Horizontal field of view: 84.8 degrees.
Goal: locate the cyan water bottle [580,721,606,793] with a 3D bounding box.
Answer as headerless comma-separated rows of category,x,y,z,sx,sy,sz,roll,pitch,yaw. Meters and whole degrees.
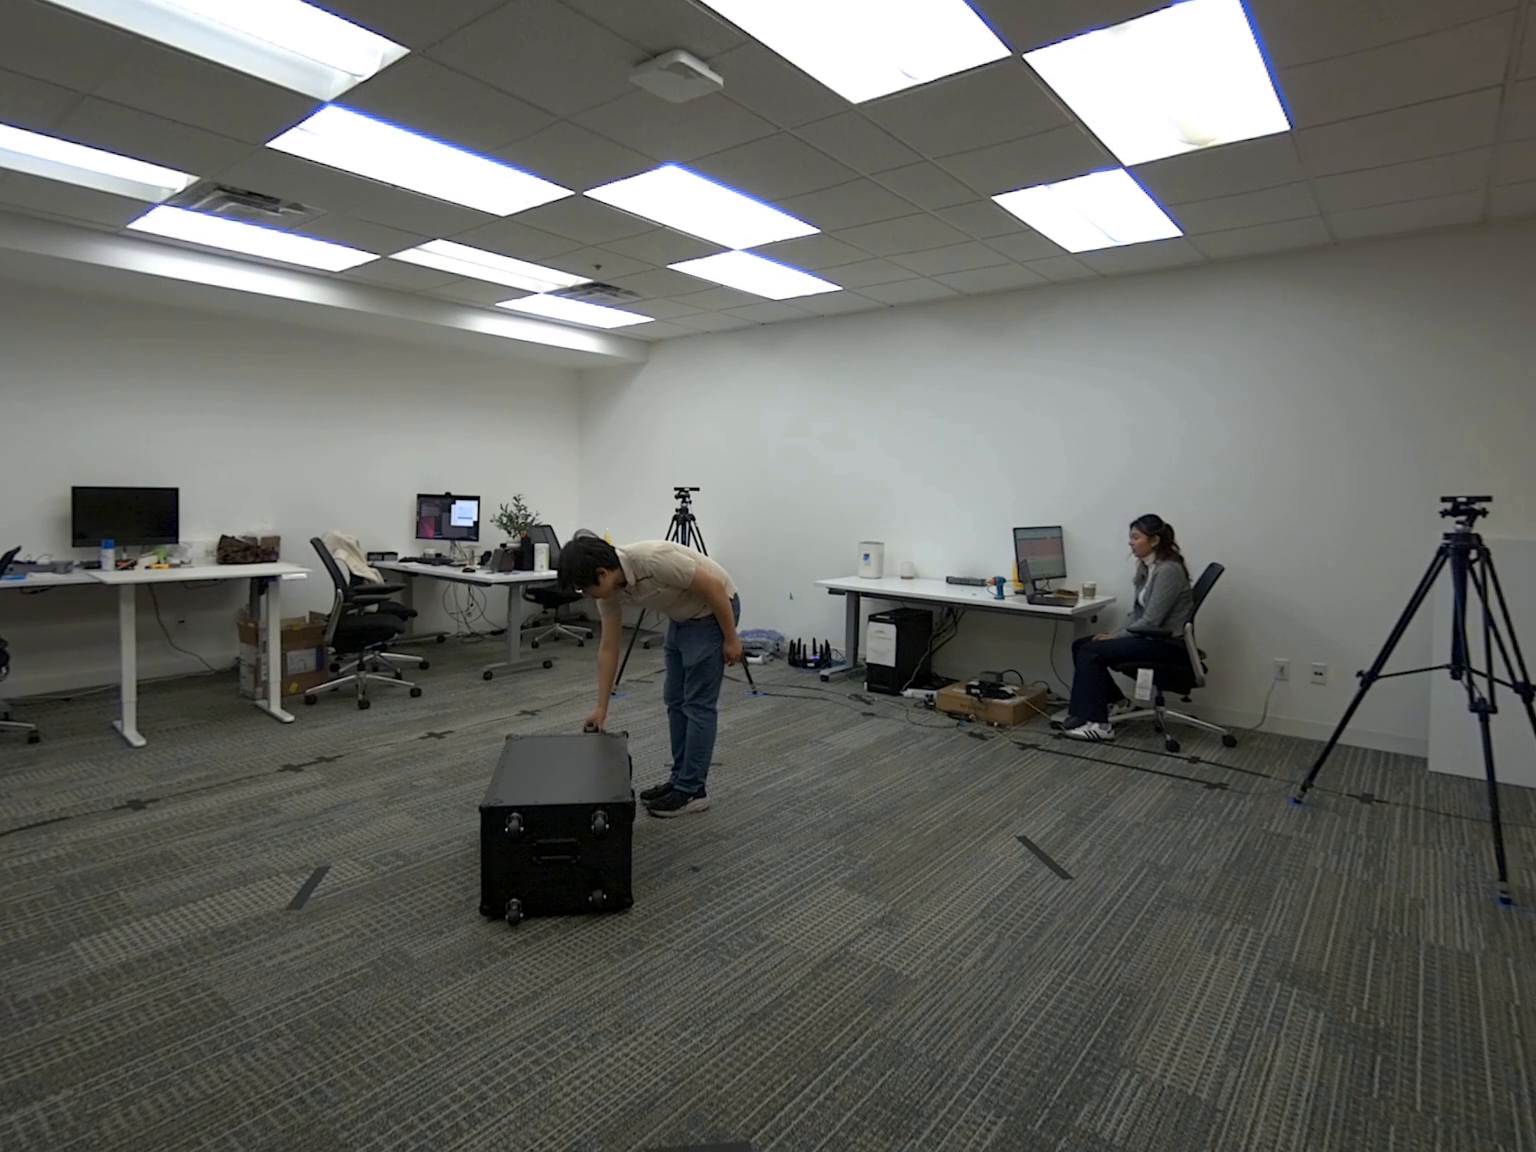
cyan water bottle,-0.768,0.787,3.679,0.092,0.282,0.093,1,4,-2
